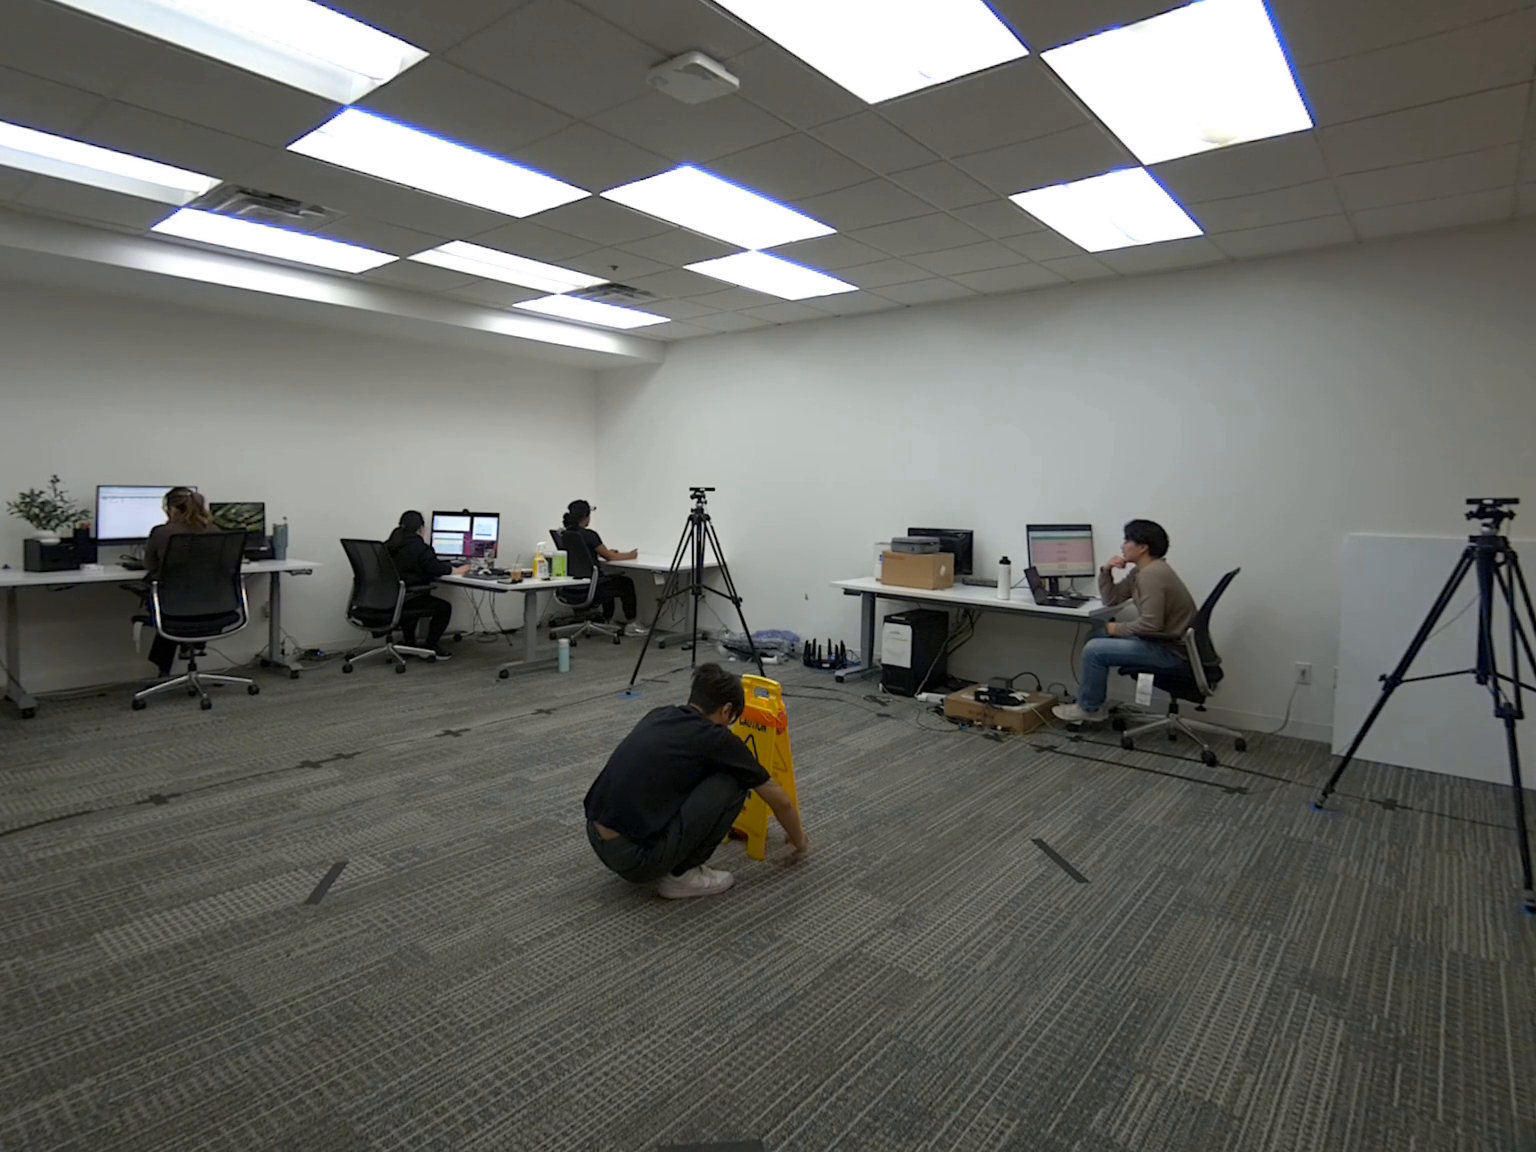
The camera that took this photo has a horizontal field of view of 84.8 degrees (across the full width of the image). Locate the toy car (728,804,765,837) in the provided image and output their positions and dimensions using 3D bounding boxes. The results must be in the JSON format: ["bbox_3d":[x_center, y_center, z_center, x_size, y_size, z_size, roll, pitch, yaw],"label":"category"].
[{"bbox_3d":[-0.157,0.998,3.469,0.261,0.083,0.126,-9,-3,44],"label":"toy car"}]
